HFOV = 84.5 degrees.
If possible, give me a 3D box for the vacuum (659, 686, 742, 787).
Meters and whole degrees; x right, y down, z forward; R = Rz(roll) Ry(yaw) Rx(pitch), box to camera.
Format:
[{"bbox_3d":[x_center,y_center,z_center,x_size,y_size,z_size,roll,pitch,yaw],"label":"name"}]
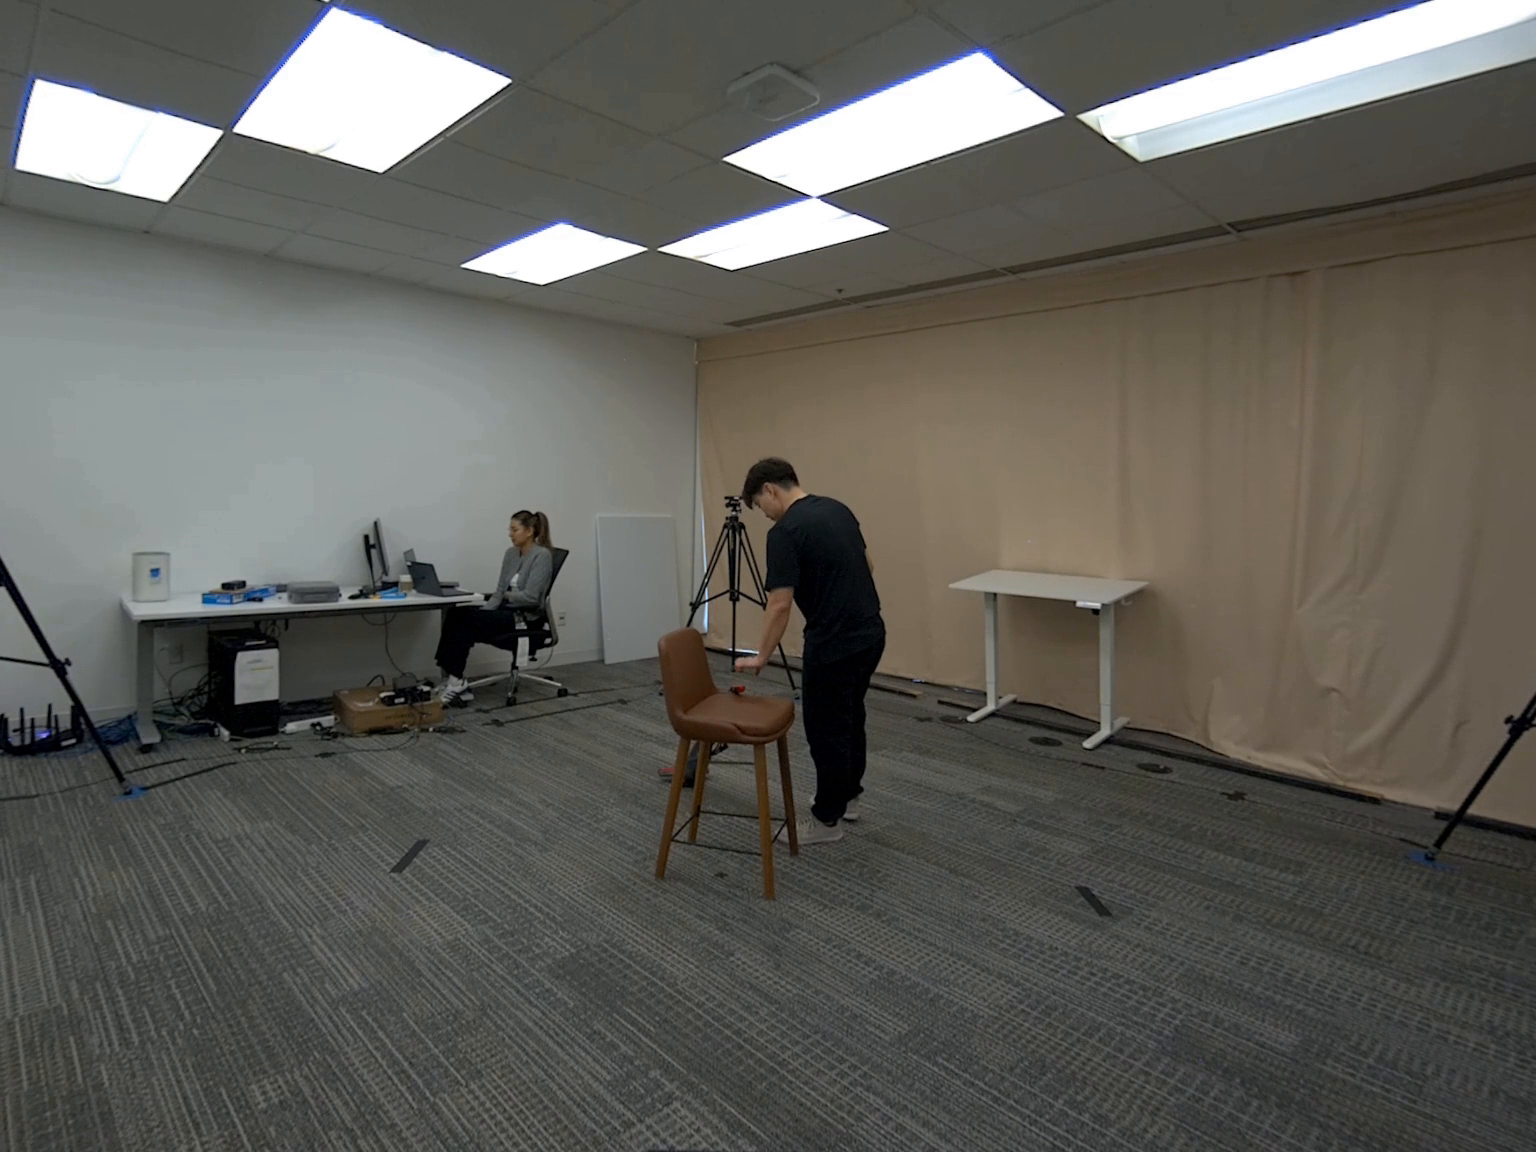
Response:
[{"bbox_3d":[-0.265,0.712,3.716,0.249,0.147,1.040,1,-32,-20],"label":"vacuum"}]
